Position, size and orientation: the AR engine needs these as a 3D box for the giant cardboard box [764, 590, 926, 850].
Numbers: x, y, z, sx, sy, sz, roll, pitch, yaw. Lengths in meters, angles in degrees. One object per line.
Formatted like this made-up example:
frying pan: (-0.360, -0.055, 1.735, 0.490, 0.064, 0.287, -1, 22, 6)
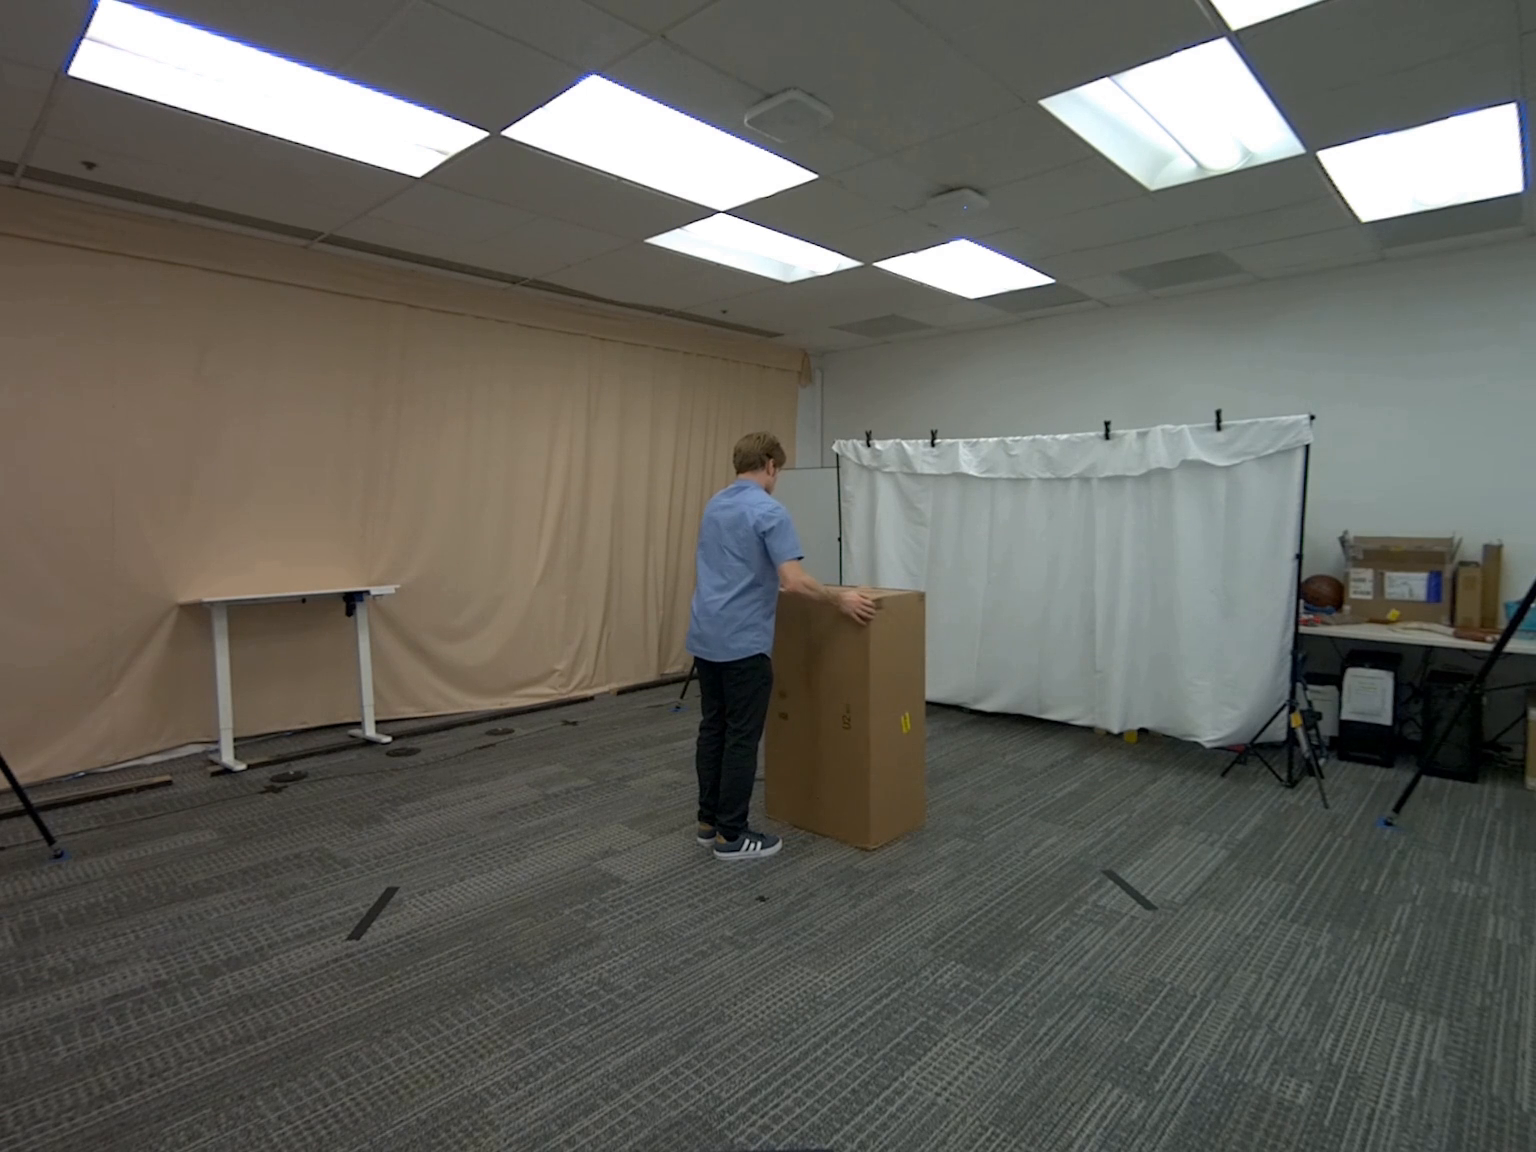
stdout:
giant cardboard box: (0.338, 0.574, 3.717, 0.596, 1.024, 0.413, 2, 3, 44)
